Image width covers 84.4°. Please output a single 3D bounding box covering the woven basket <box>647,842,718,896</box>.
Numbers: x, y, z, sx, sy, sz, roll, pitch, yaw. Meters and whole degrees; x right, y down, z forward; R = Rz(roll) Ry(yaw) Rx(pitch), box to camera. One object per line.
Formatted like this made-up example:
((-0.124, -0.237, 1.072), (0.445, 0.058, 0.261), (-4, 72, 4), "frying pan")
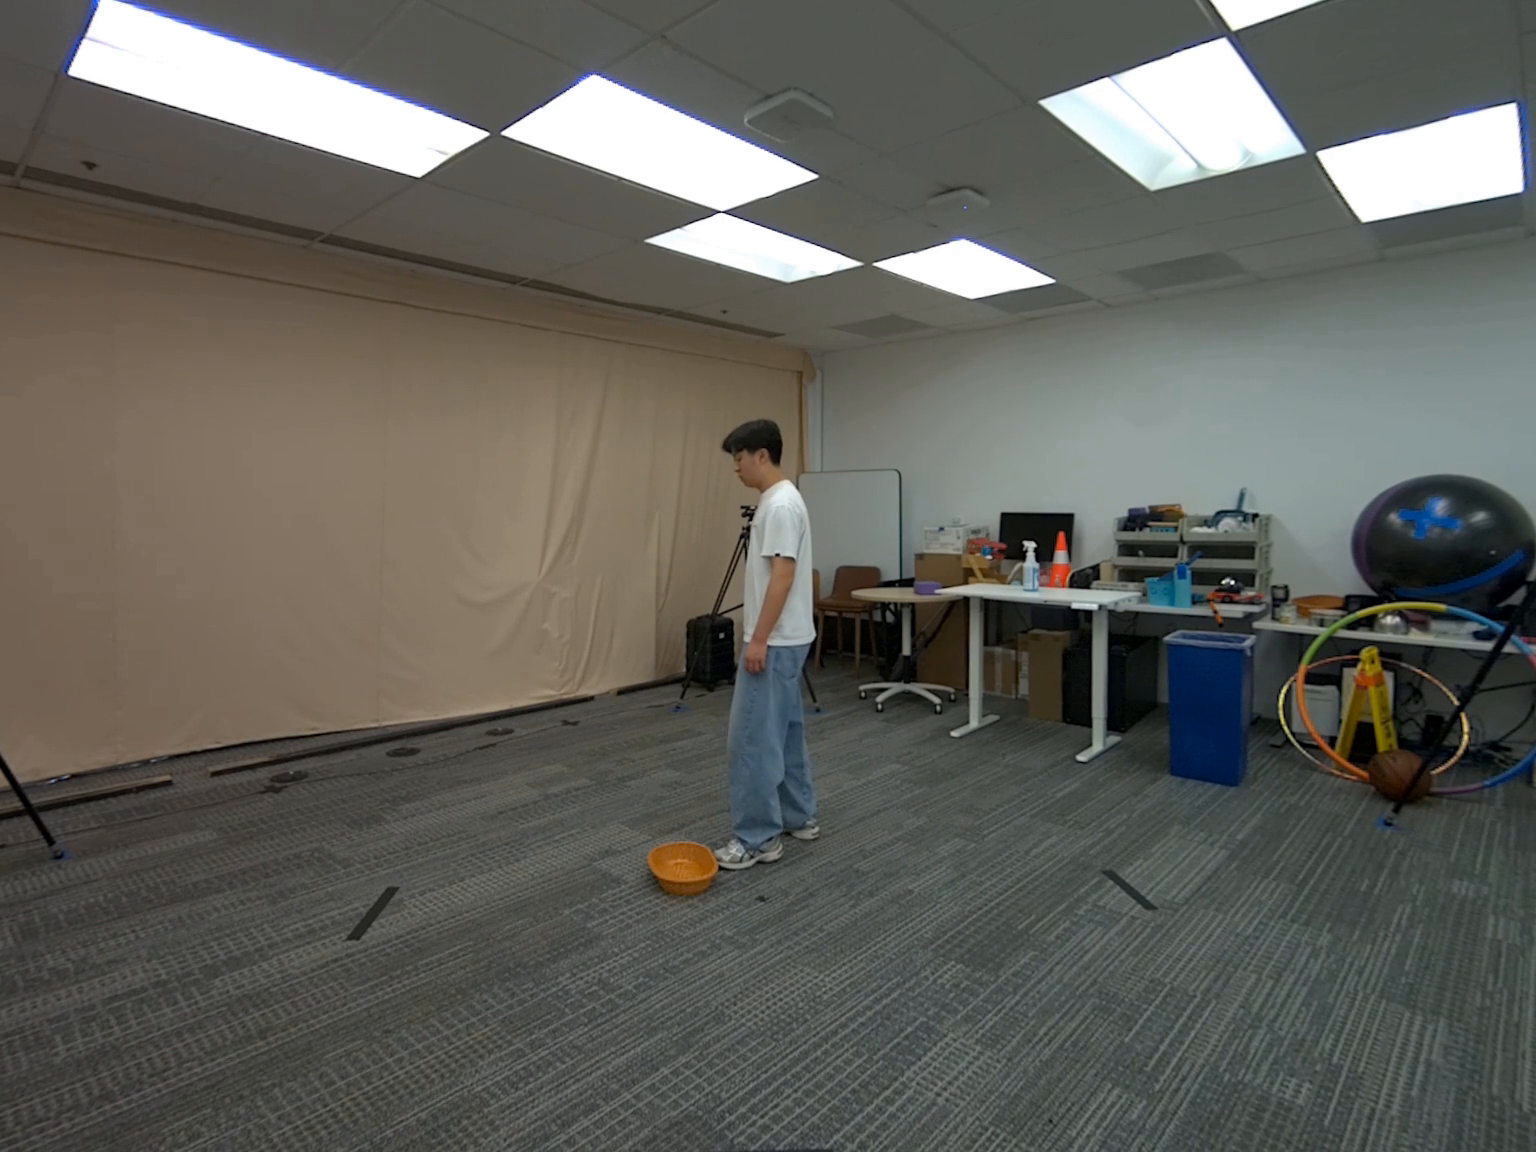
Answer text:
((-0.316, 1.088, 3.157), (0.249, 0.073, 0.356), (-2, 5, -15), "woven basket")
